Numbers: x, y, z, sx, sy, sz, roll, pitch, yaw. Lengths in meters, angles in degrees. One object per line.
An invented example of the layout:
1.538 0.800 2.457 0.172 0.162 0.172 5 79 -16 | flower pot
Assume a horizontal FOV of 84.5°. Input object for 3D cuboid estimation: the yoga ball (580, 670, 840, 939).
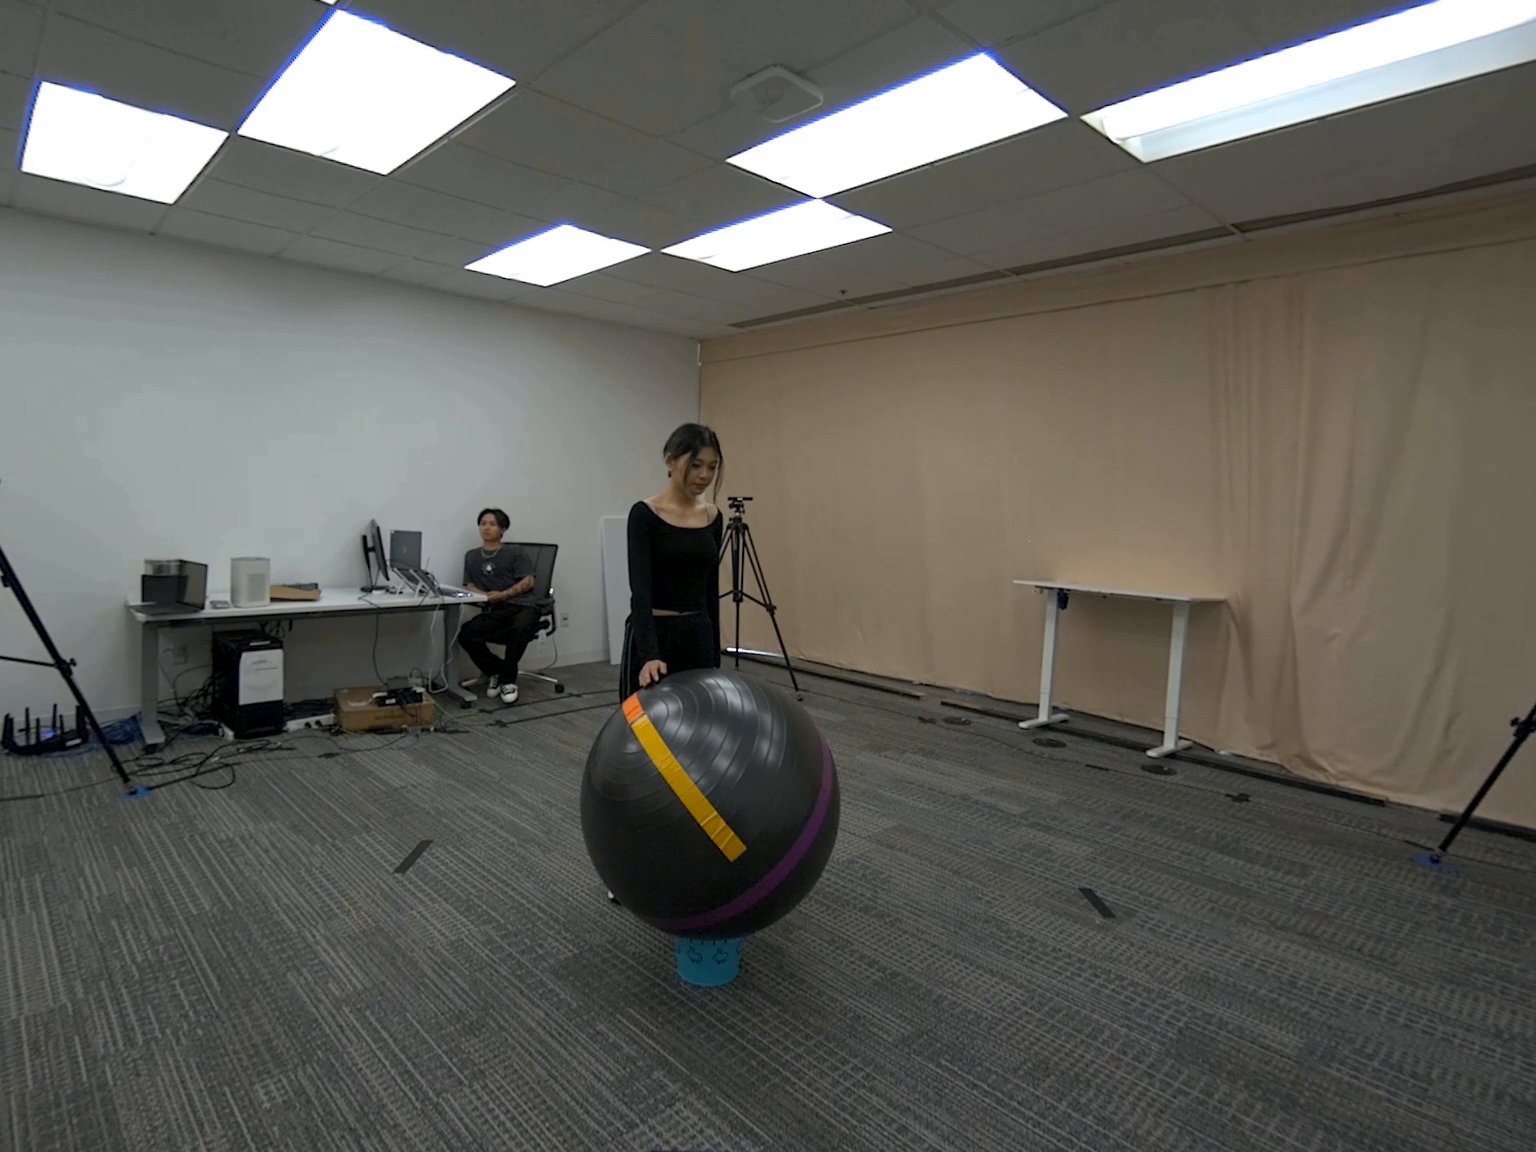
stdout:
-0.167 0.657 2.454 0.757 0.756 0.761 1 4 -1 | yoga ball
